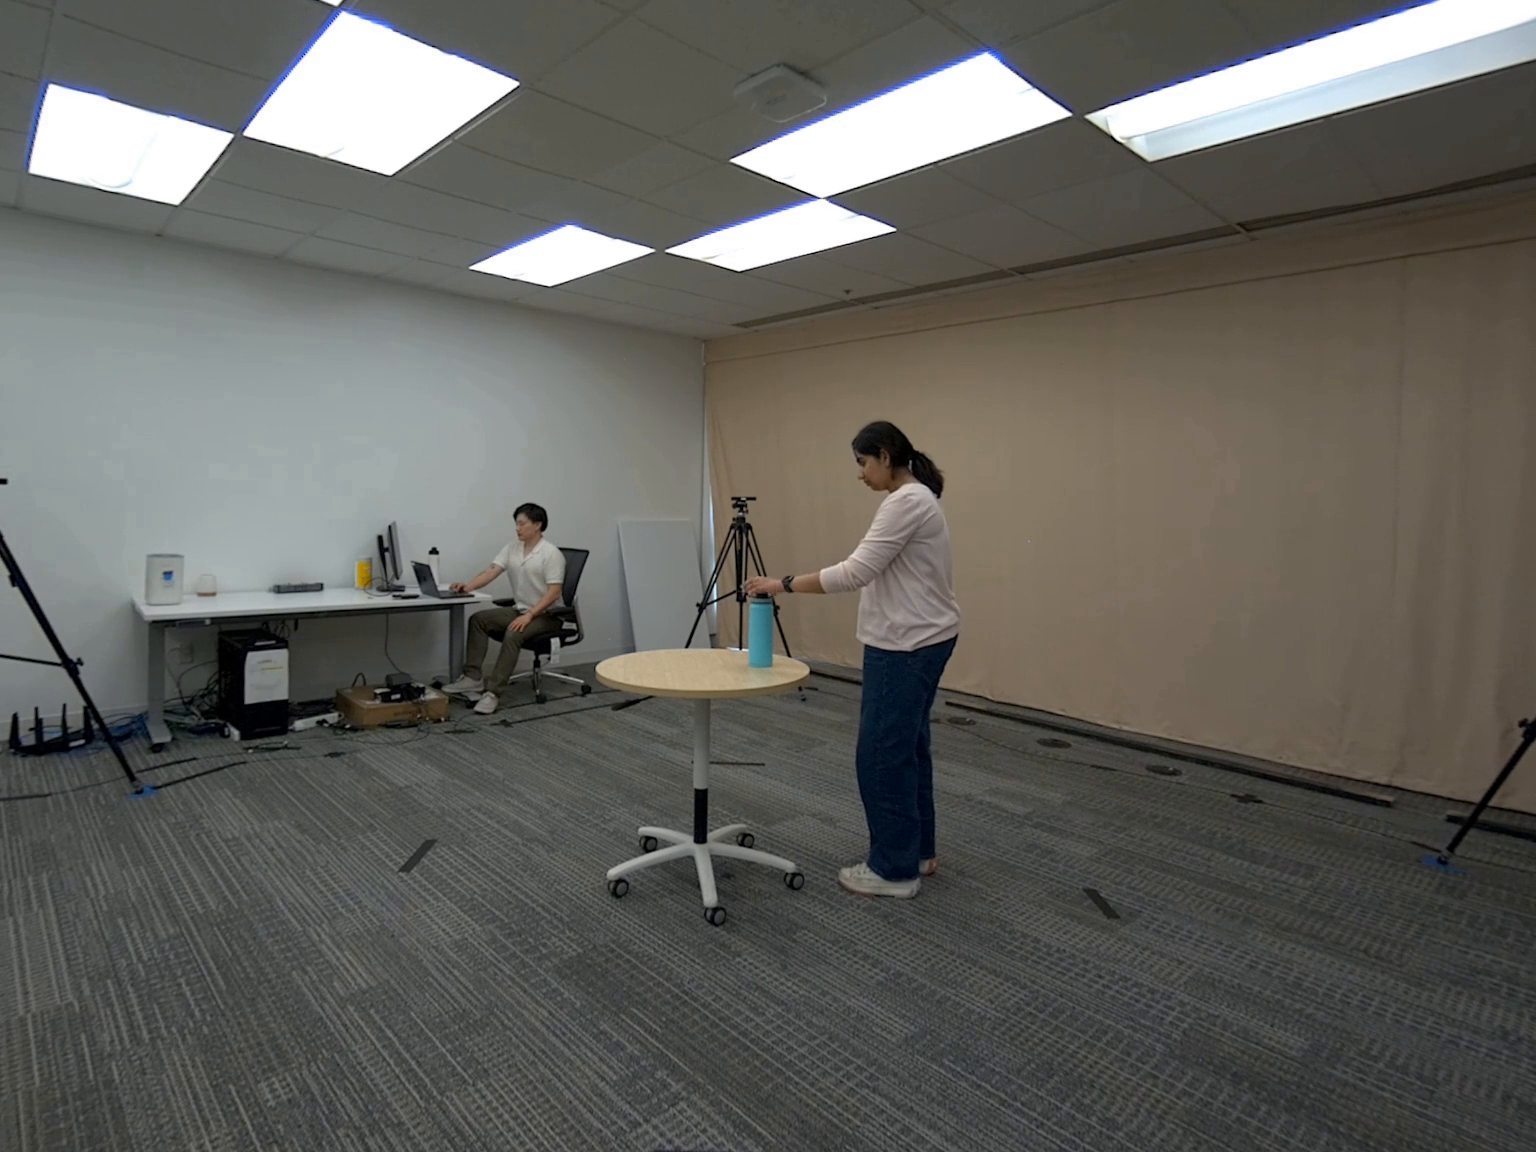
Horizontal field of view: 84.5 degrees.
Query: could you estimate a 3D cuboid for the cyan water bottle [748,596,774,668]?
[{"bbox_3d":[-0.028,0.188,3.072,0.092,0.283,0.092,1,2,-1],"label":"cyan water bottle"}]
